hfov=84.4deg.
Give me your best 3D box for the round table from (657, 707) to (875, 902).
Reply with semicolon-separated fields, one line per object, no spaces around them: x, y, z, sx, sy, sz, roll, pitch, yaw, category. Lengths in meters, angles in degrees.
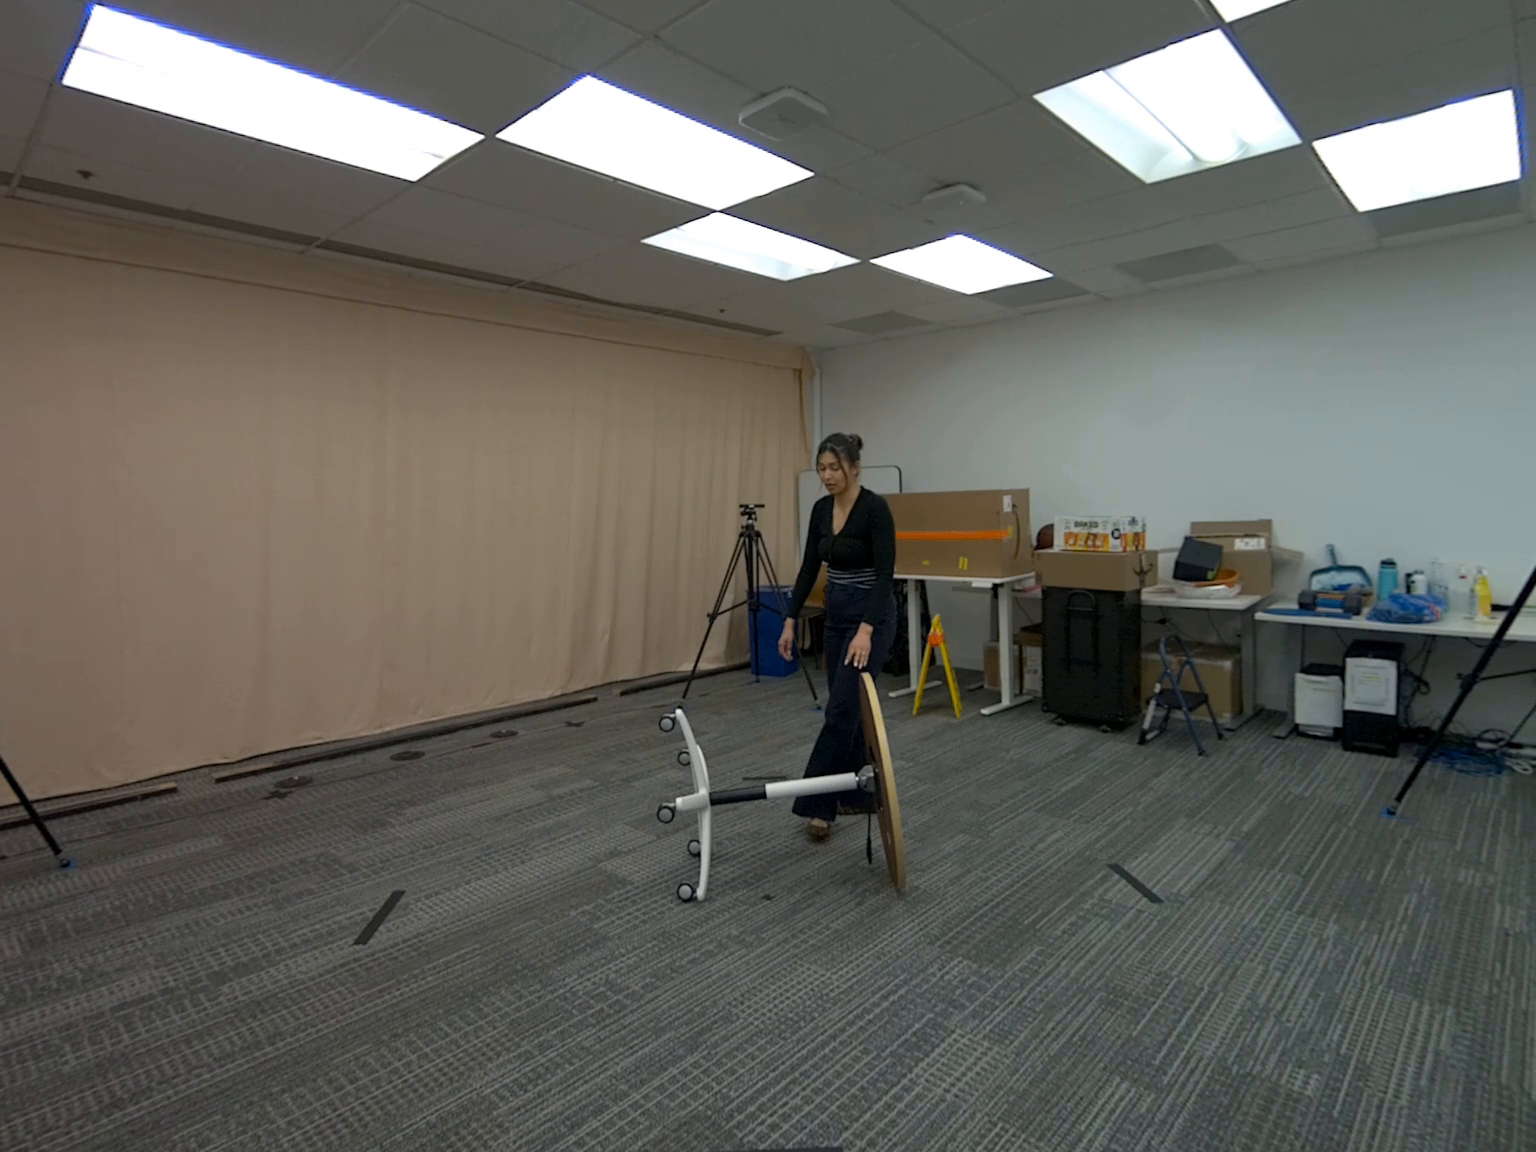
0.039;0.799;3.121;0.797;0.762;0.763;-7;4;2;round table
